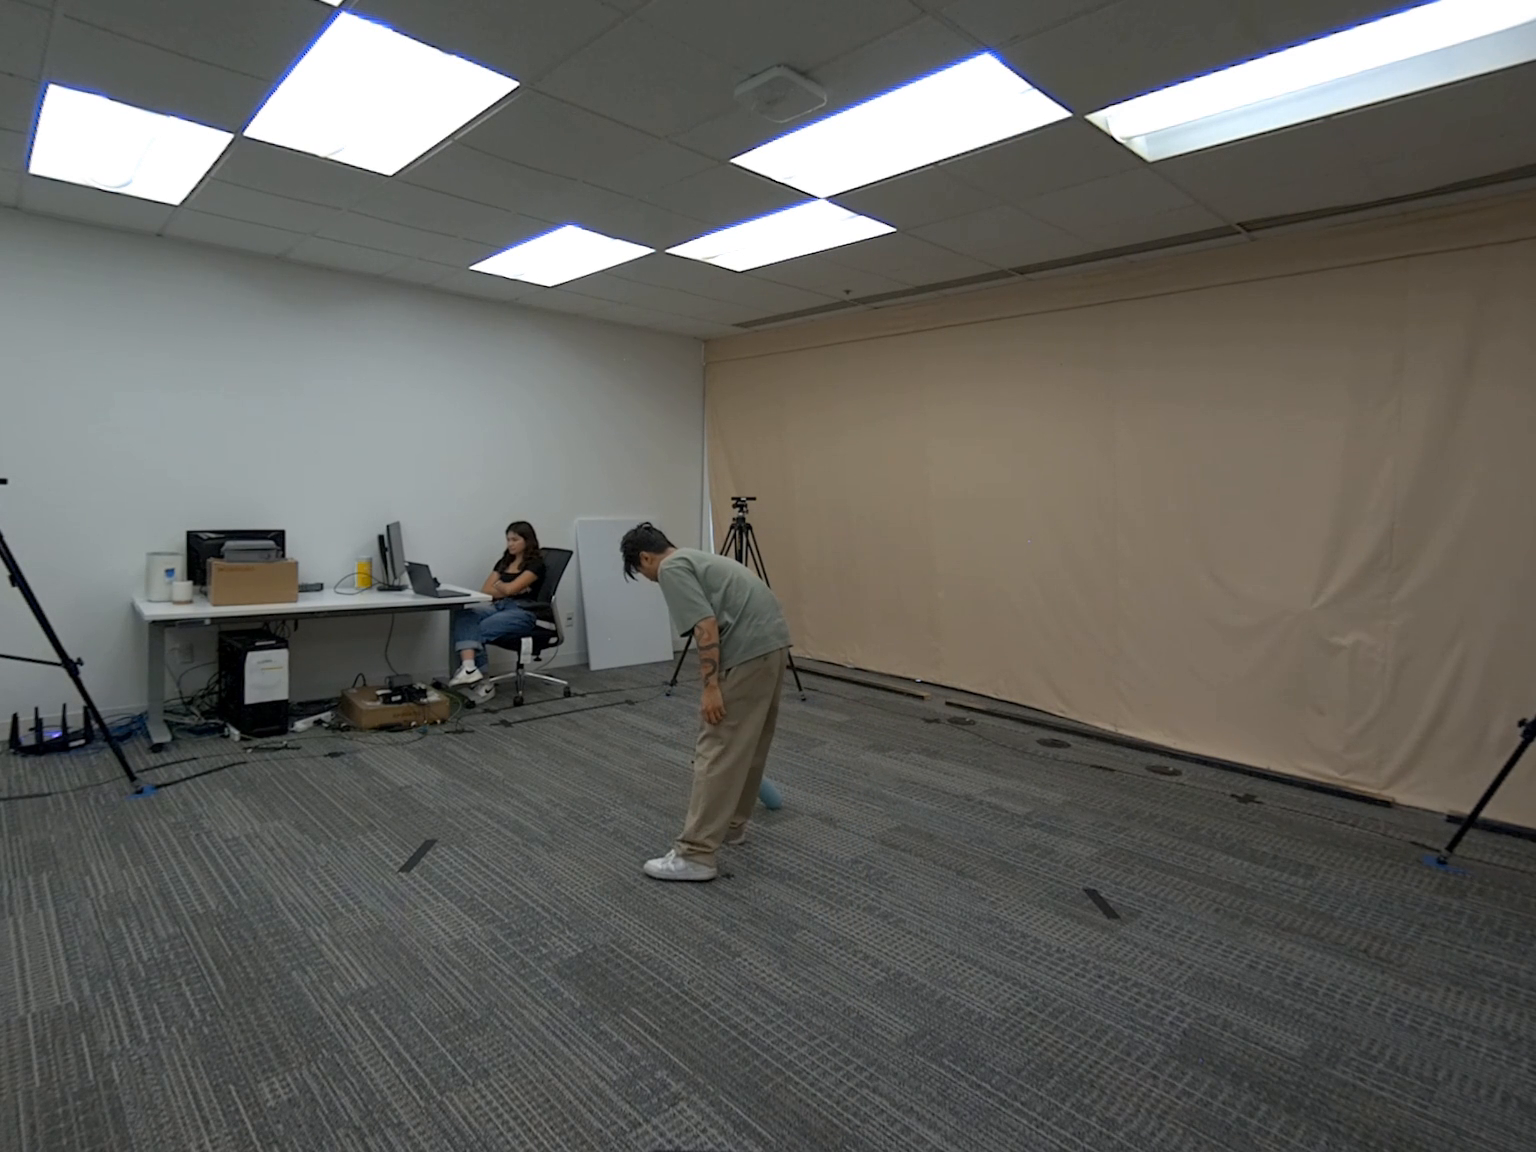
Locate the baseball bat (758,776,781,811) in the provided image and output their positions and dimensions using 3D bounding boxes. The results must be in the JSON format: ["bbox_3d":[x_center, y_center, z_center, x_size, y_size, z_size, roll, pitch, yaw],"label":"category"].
[{"bbox_3d":[-0.120,0.849,3.714,0.089,0.529,0.091,-31,27,17],"label":"baseball bat"}]
